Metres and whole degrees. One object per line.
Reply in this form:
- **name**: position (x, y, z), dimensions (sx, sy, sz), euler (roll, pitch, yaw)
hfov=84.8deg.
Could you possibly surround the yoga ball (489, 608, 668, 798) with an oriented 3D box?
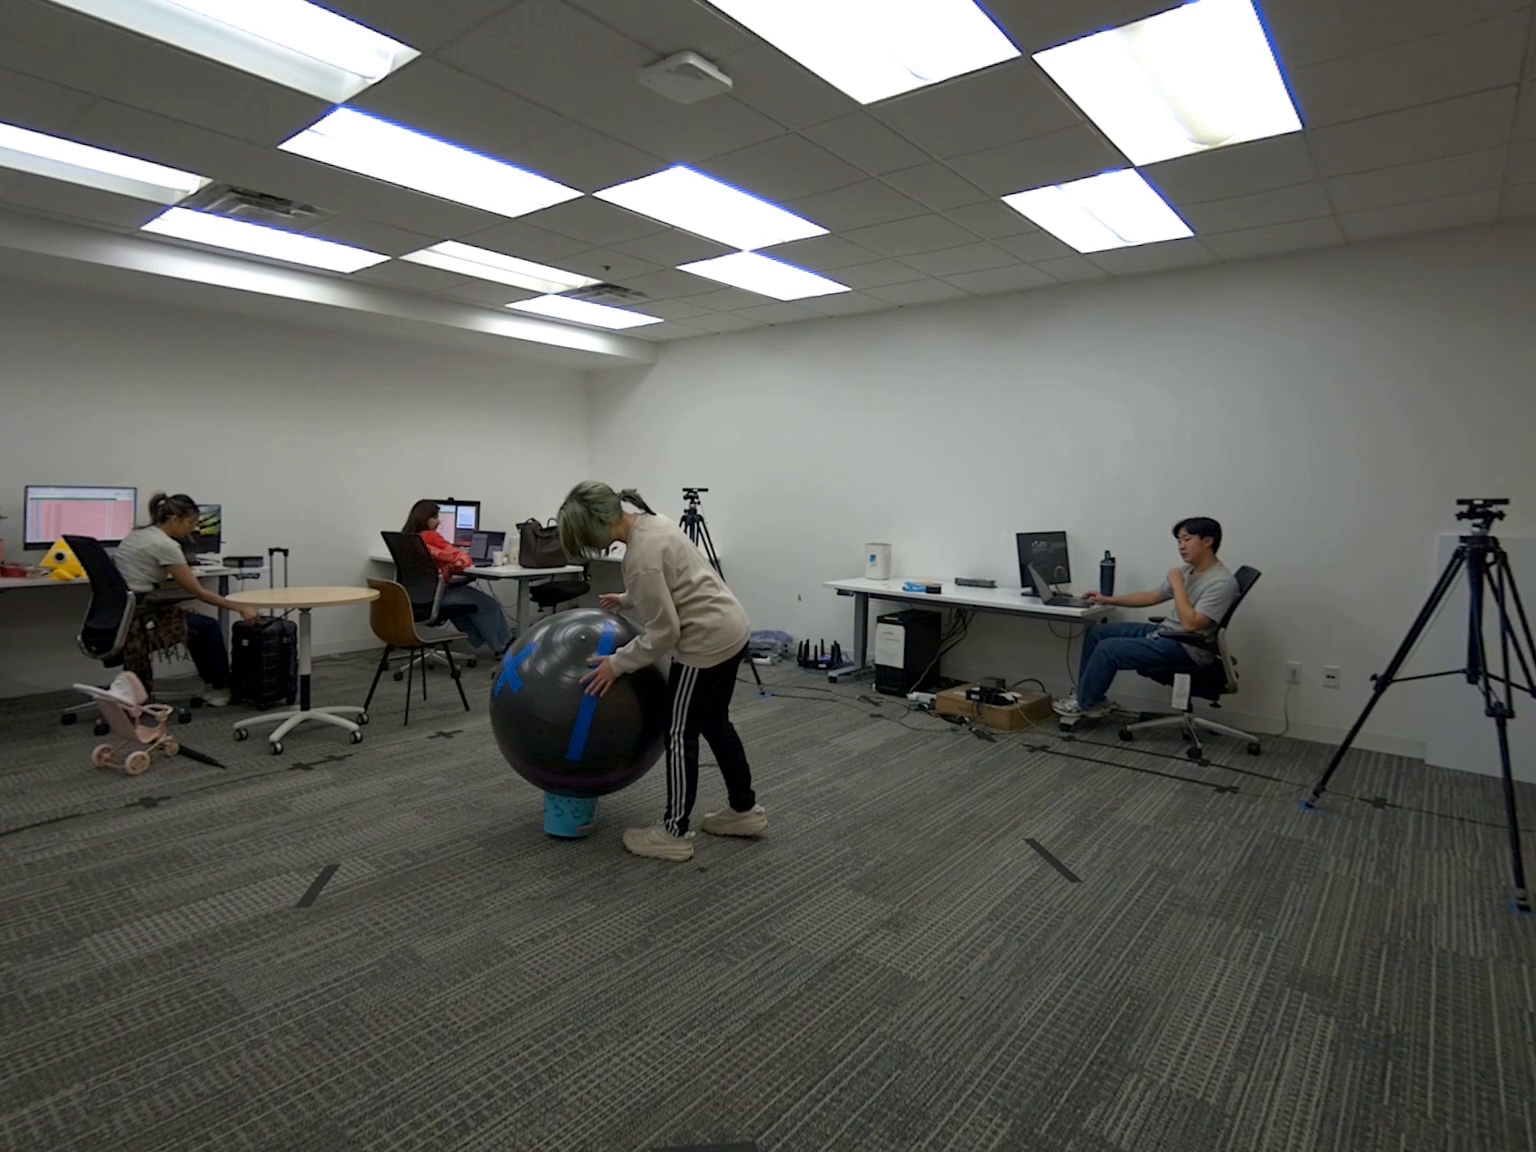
- **yoga ball**: position (-0.765, 0.512, 3.467), dimensions (0.757, 0.755, 0.762), euler (1, 4, -2)
